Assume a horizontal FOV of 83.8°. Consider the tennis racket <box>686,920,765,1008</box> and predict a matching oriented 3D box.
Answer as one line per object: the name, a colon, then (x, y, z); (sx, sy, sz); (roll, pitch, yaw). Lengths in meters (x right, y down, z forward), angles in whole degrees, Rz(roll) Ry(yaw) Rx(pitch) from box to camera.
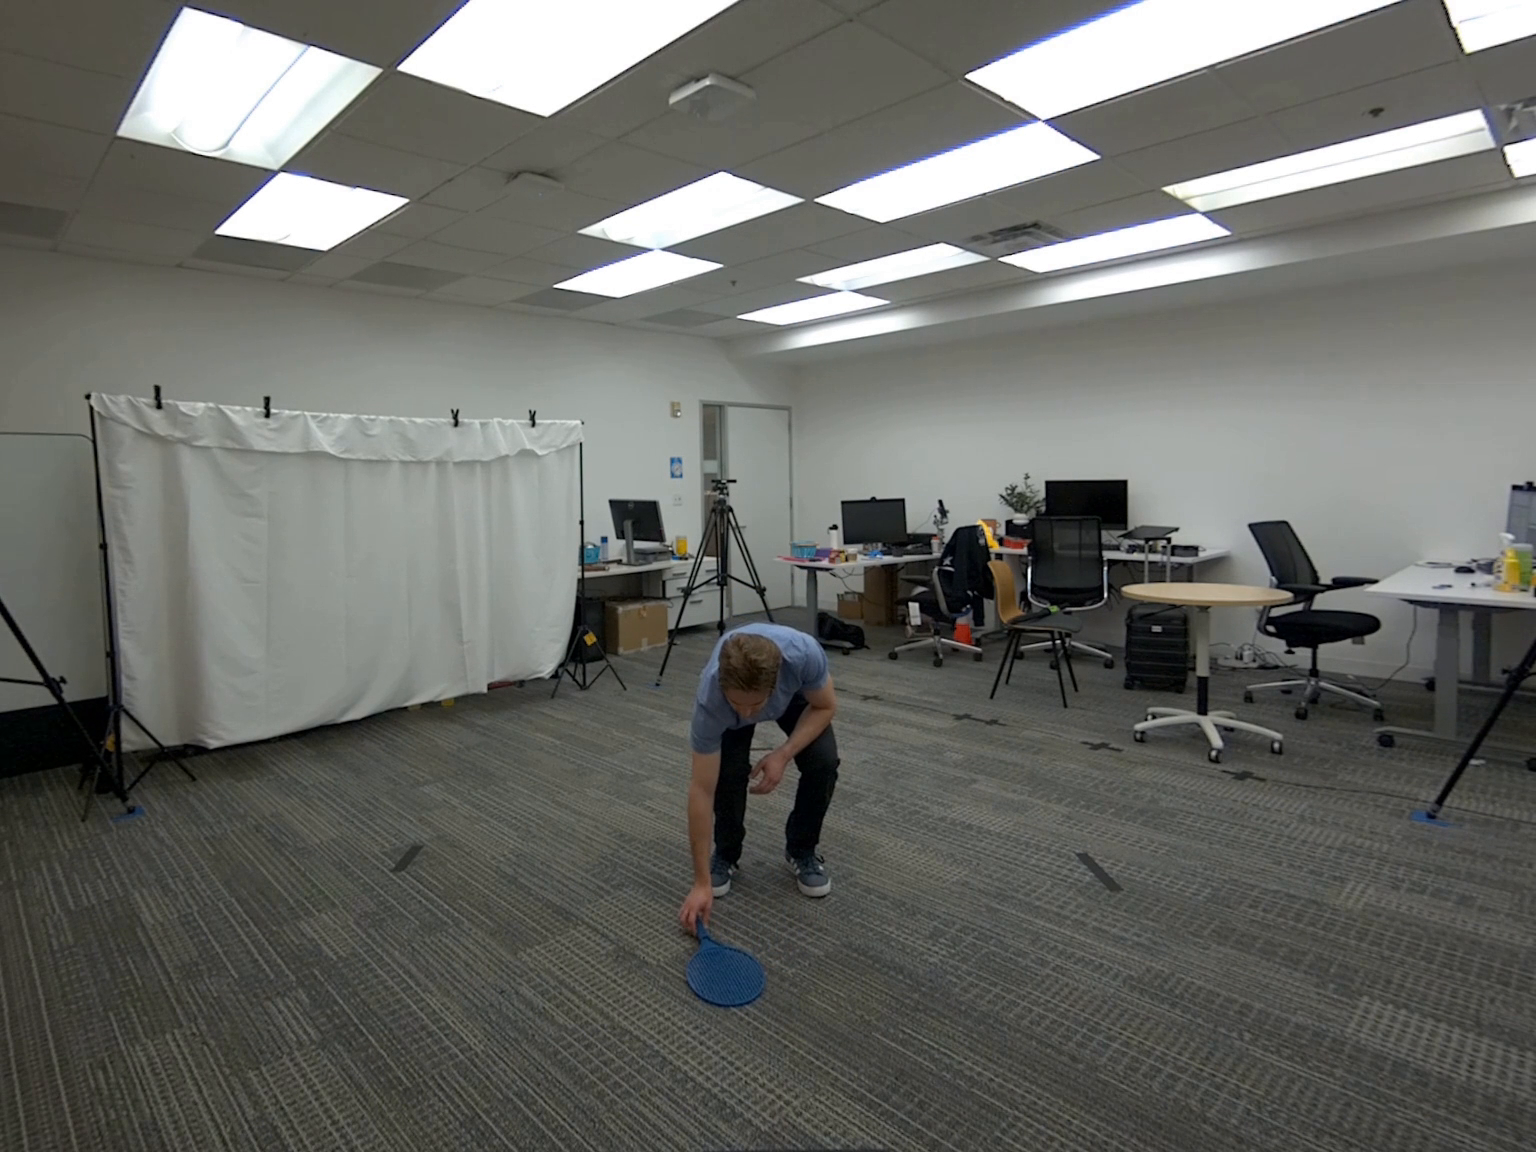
tennis racket: (-0.151, 1.111, 2.473); (0.210, 0.031, 0.444); (-5, 9, -23)
